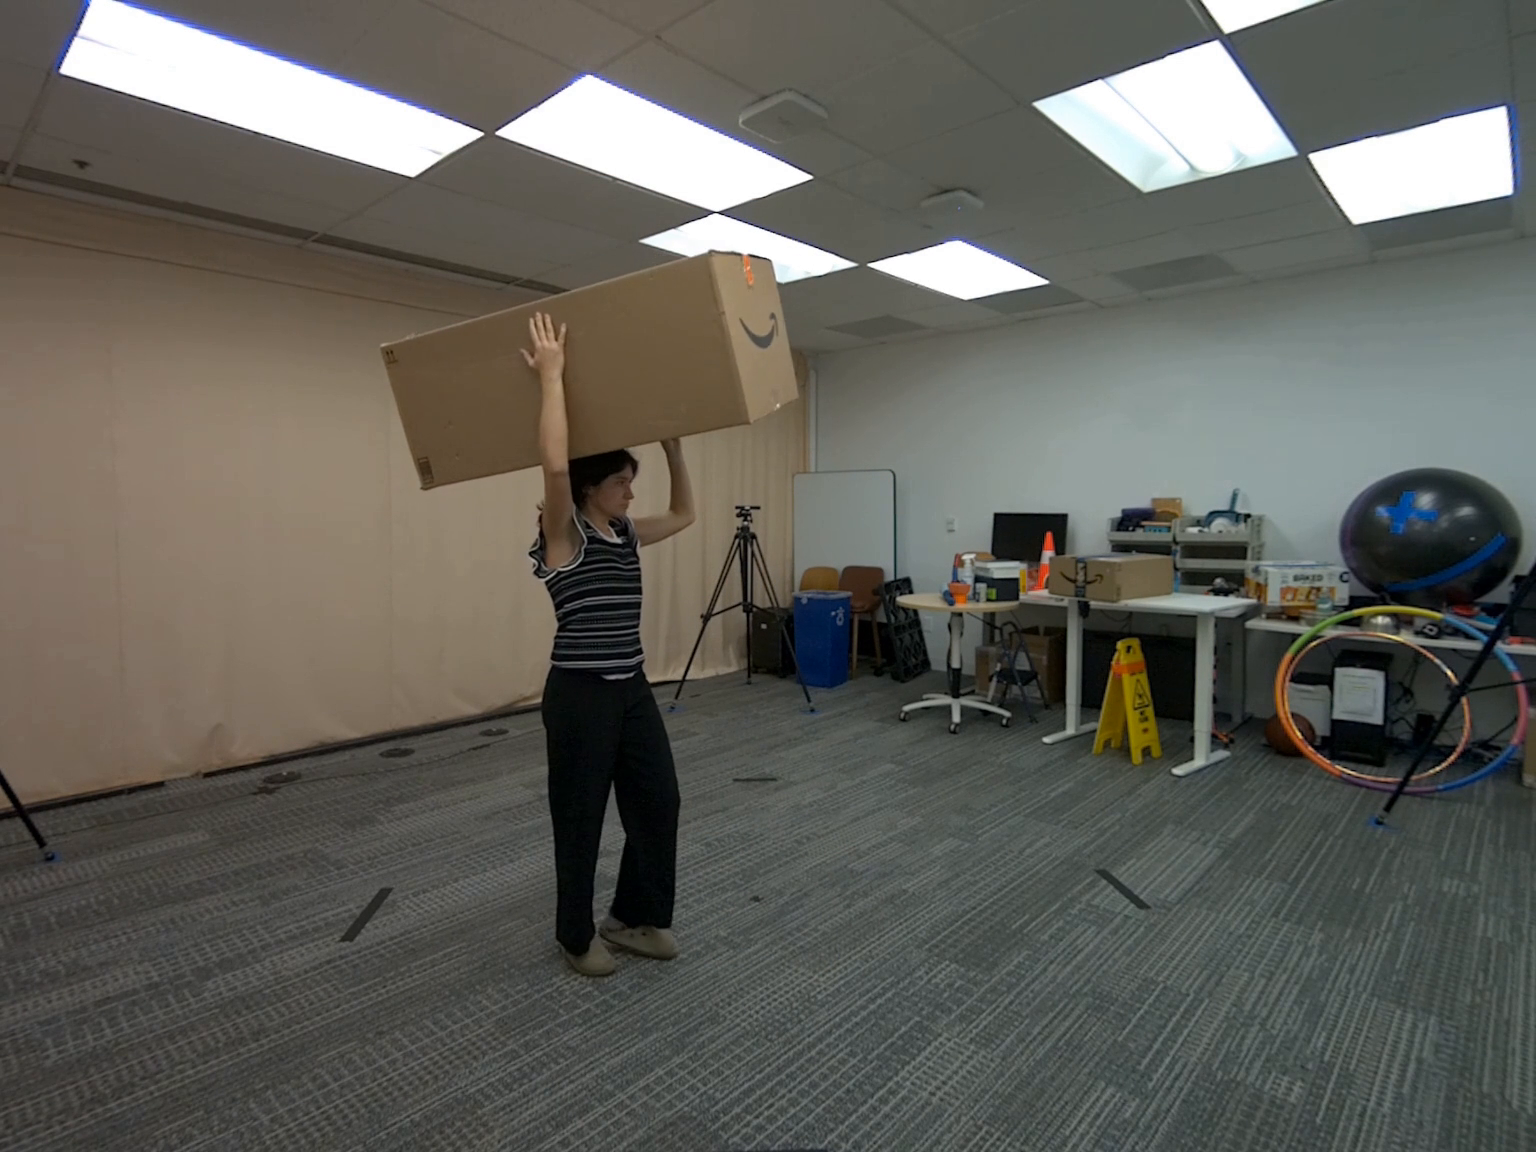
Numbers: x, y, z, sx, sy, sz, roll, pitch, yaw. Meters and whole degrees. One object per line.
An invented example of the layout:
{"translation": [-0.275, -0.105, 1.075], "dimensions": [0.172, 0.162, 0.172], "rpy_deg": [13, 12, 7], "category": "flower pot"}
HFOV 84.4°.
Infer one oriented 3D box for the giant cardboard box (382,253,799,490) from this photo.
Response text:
{"translation": [-0.491, -0.598, 2.478], "dimensions": [1.046, 0.421, 0.573], "rpy_deg": [-8, 14, 20], "category": "giant cardboard box"}
